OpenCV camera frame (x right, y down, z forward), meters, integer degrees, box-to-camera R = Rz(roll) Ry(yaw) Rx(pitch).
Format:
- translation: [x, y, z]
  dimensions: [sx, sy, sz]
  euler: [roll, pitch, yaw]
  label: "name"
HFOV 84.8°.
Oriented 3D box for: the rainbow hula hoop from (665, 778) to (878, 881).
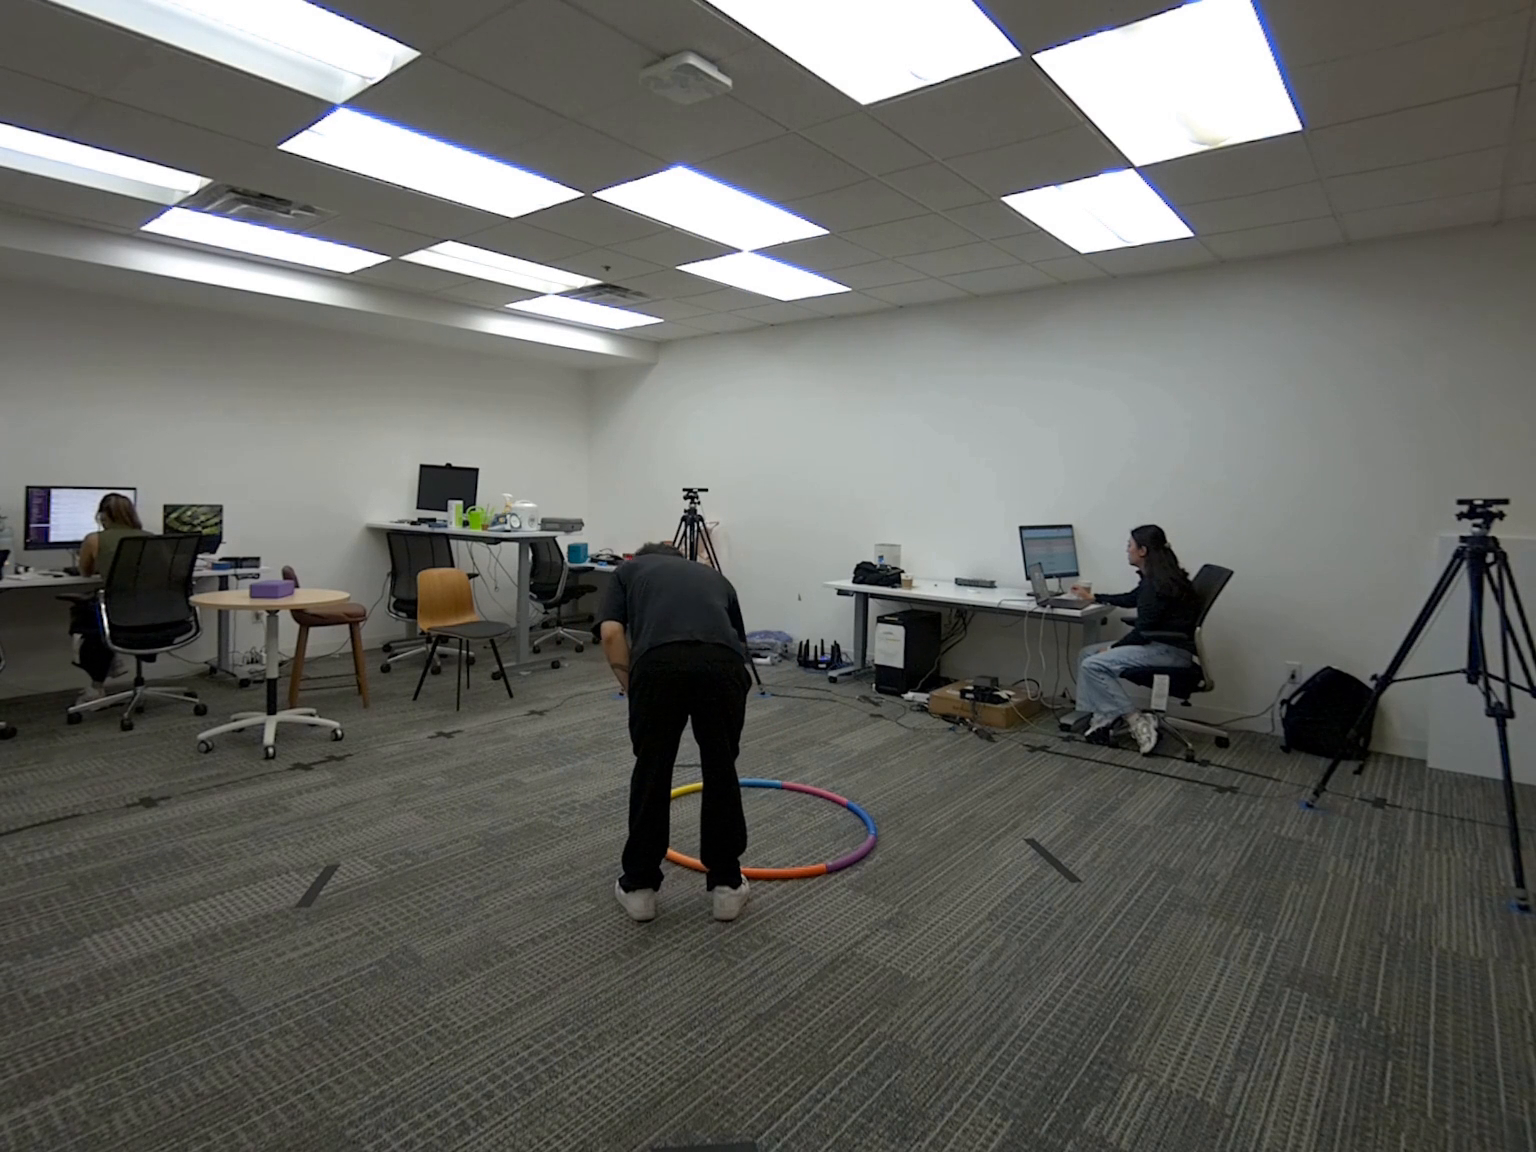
- translation: [-0.058, 1.005, 3.514]
  dimensions: [0.978, 0.035, 0.984]
  euler: [1, 6, -2]
  label: "rainbow hula hoop"
